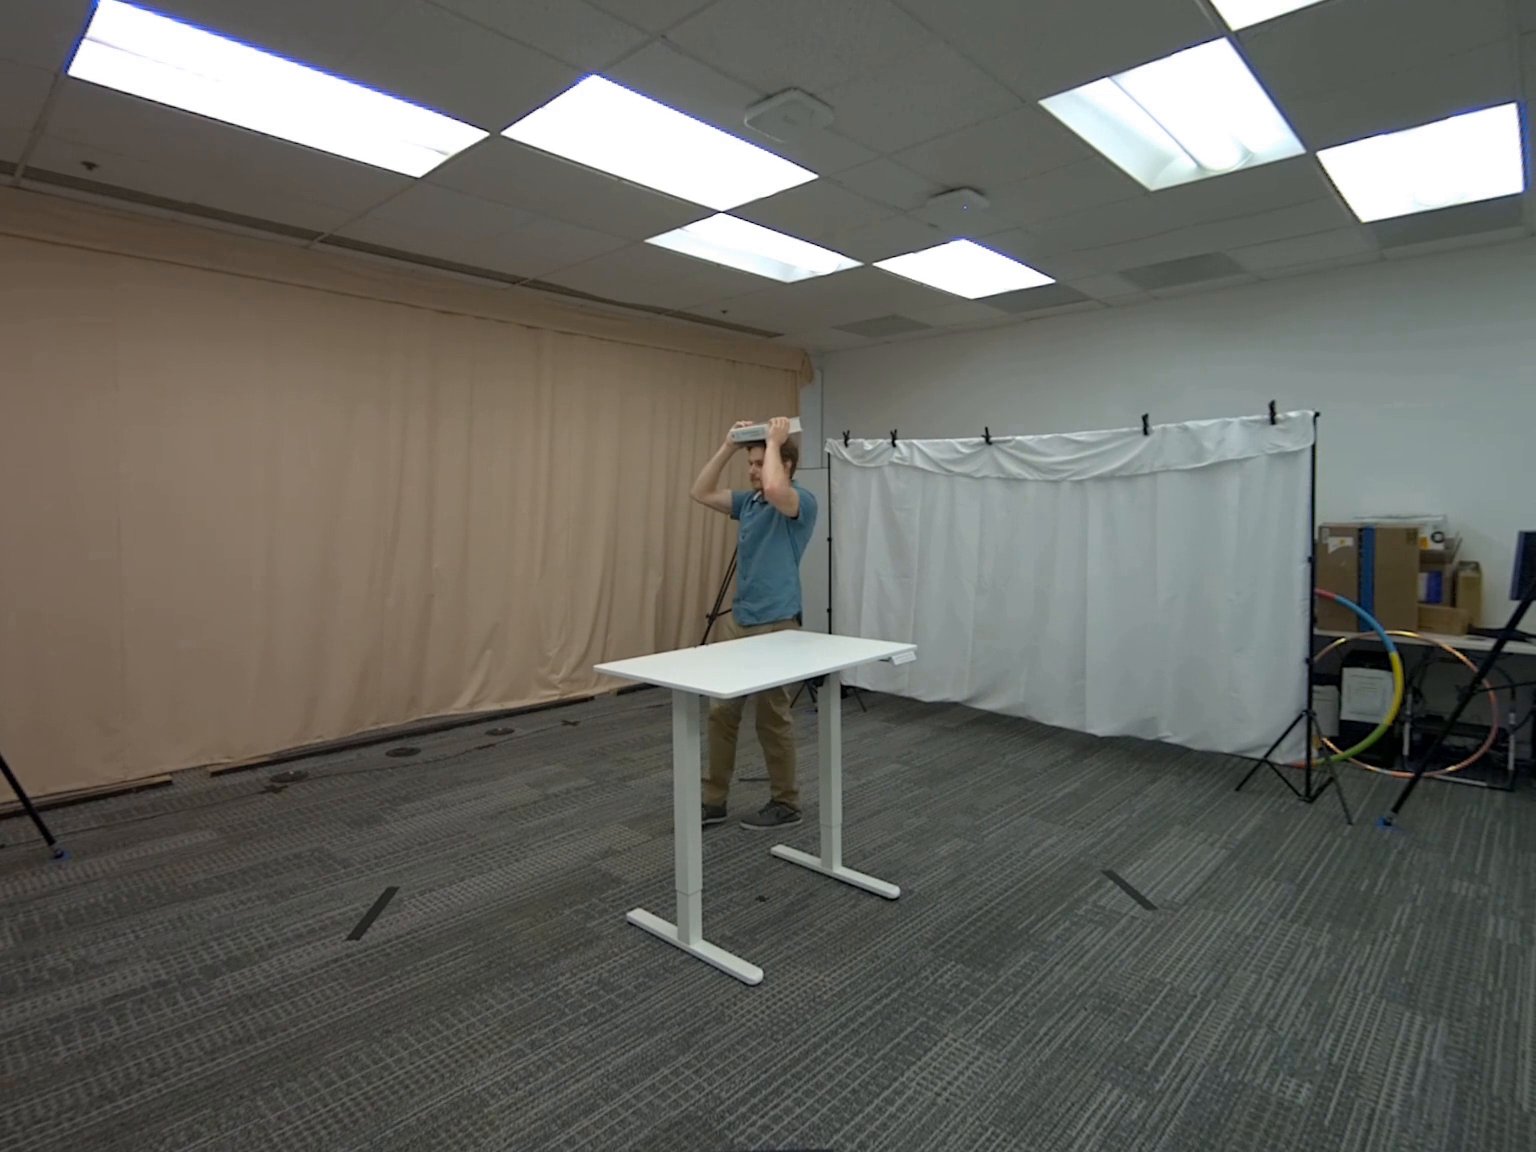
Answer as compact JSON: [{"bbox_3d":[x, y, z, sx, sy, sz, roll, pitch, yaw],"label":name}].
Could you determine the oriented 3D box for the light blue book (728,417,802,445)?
[{"bbox_3d":[-0.004,-0.613,3.563,0.187,0.058,0.269,-20,15,-36],"label":"light blue book"}]
